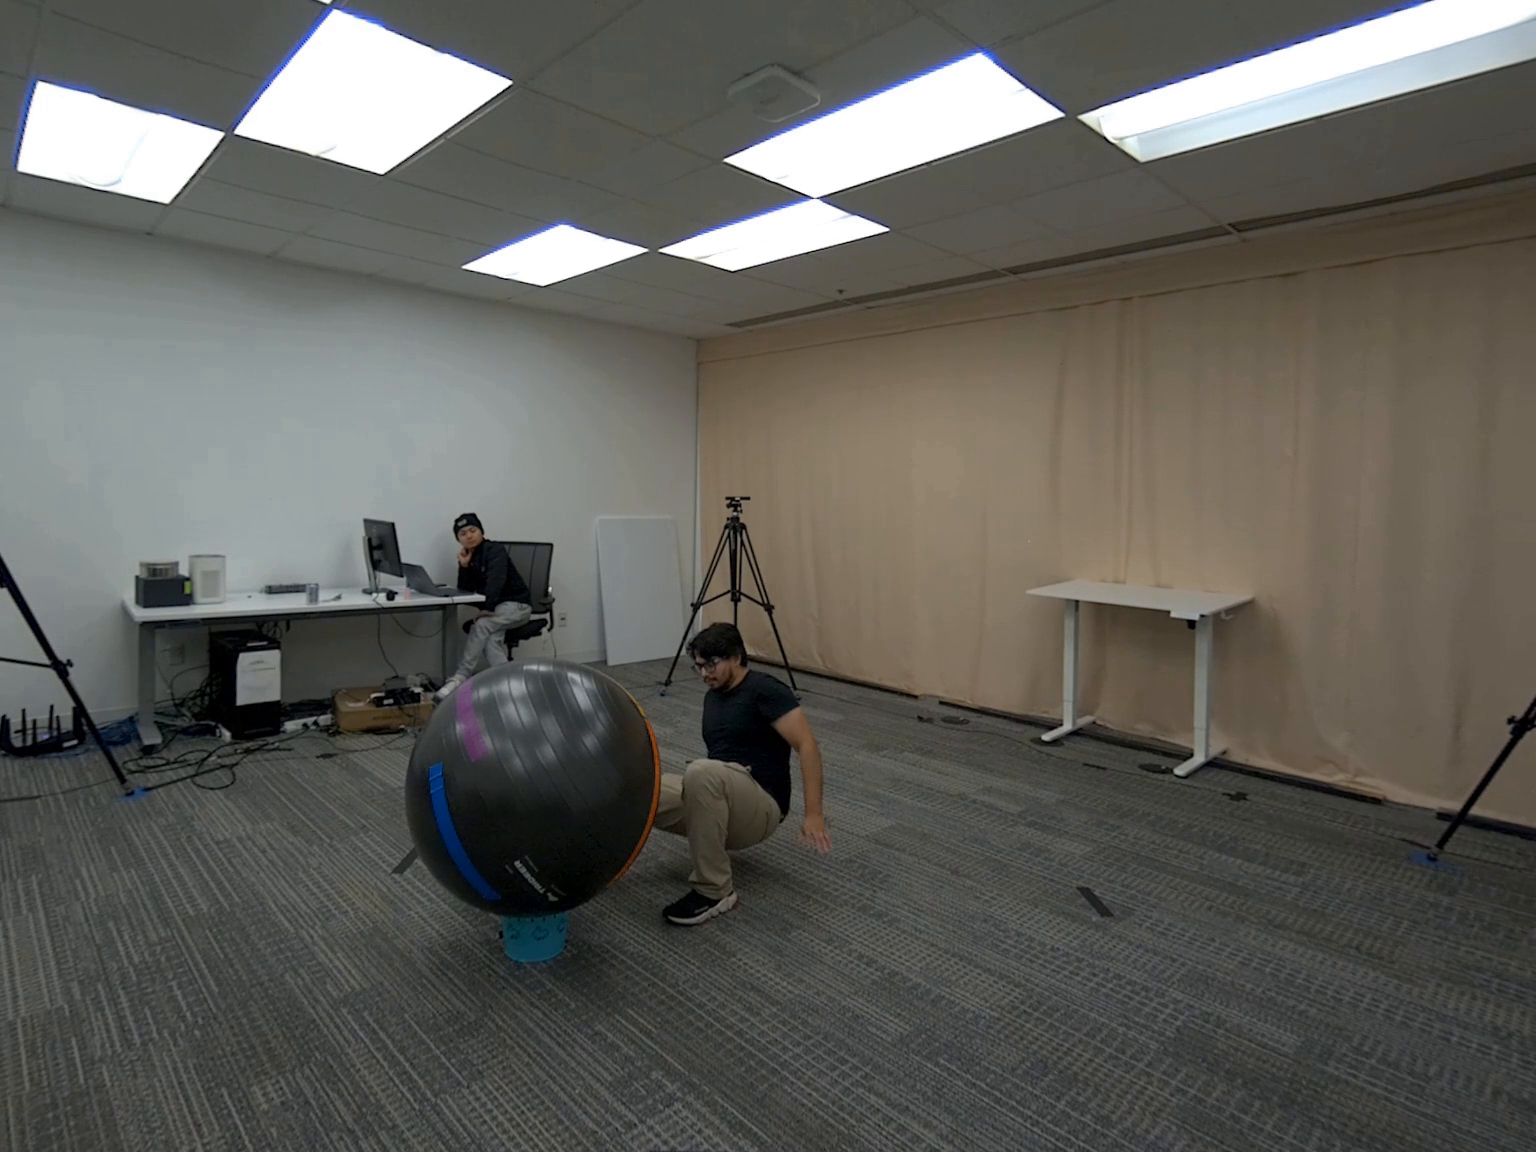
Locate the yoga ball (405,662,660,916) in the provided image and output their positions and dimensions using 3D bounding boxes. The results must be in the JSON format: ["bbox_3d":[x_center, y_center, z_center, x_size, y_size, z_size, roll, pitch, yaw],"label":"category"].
[{"bbox_3d":[-0.713,0.637,2.561,0.757,0.756,0.761,1,4,-1],"label":"yoga ball"}]
